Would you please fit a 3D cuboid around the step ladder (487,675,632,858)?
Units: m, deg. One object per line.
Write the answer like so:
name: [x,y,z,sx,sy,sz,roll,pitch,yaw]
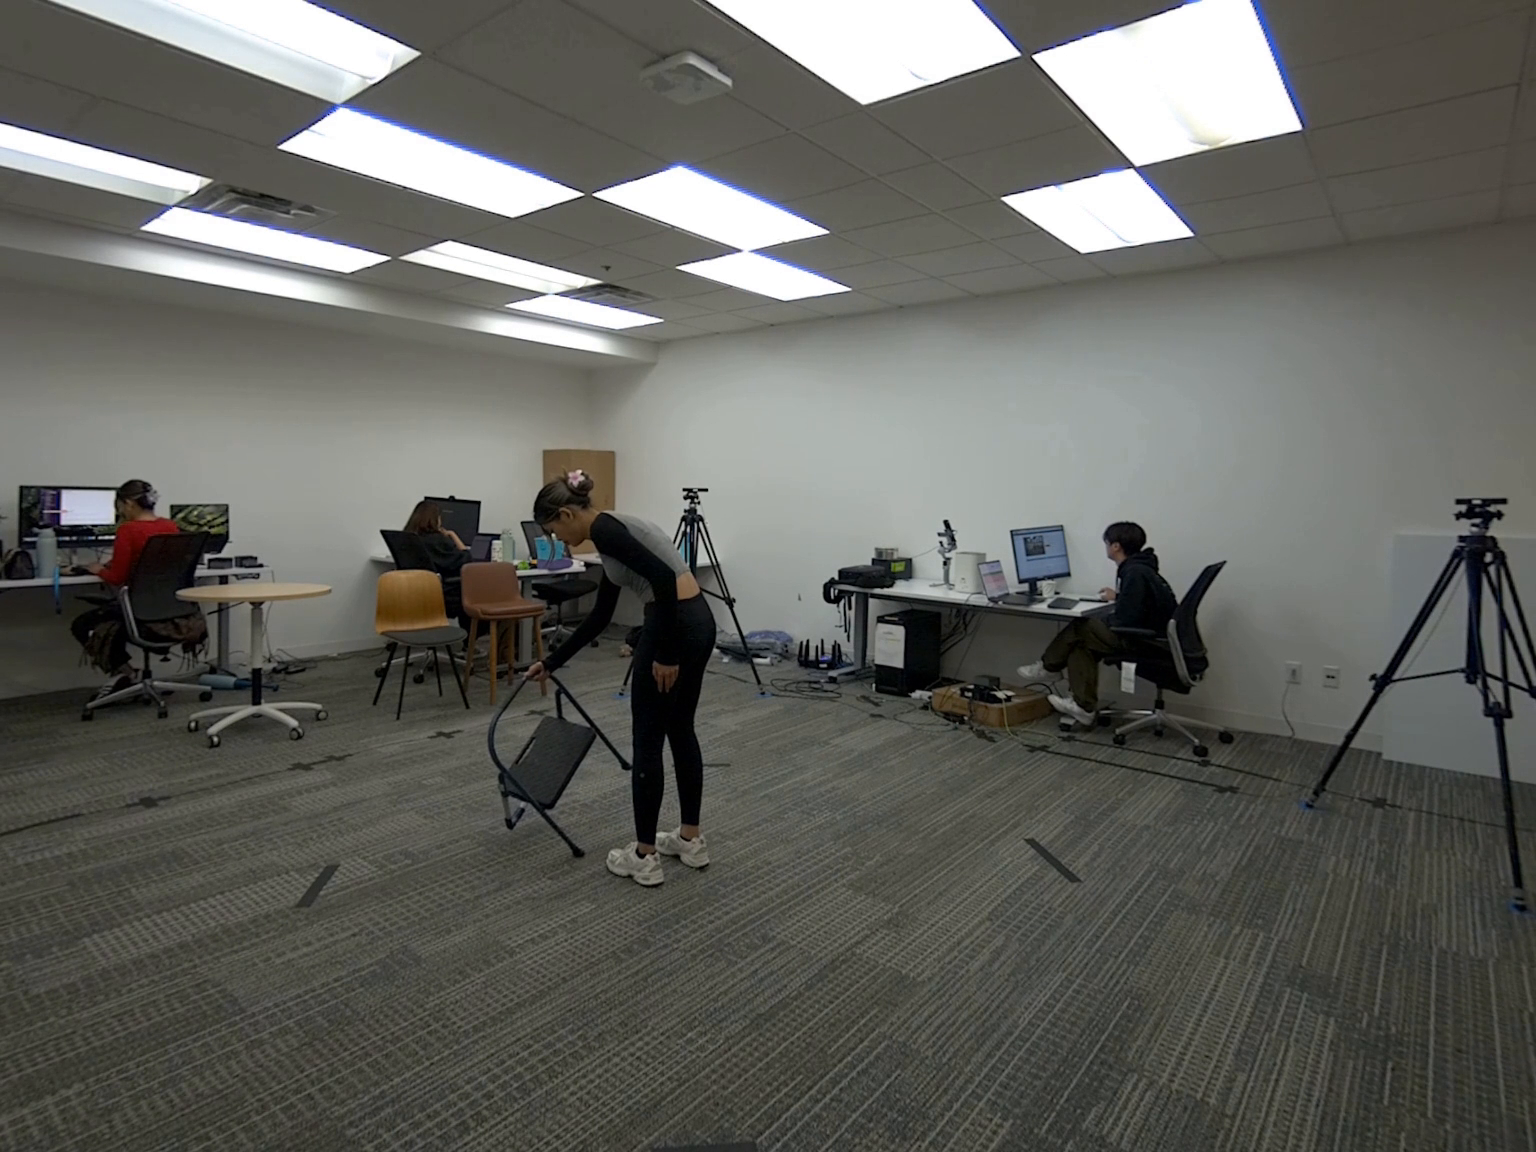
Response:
step ladder: [-0.836,0.665,3.211,0.358,0.586,0.435,9,44,21]
